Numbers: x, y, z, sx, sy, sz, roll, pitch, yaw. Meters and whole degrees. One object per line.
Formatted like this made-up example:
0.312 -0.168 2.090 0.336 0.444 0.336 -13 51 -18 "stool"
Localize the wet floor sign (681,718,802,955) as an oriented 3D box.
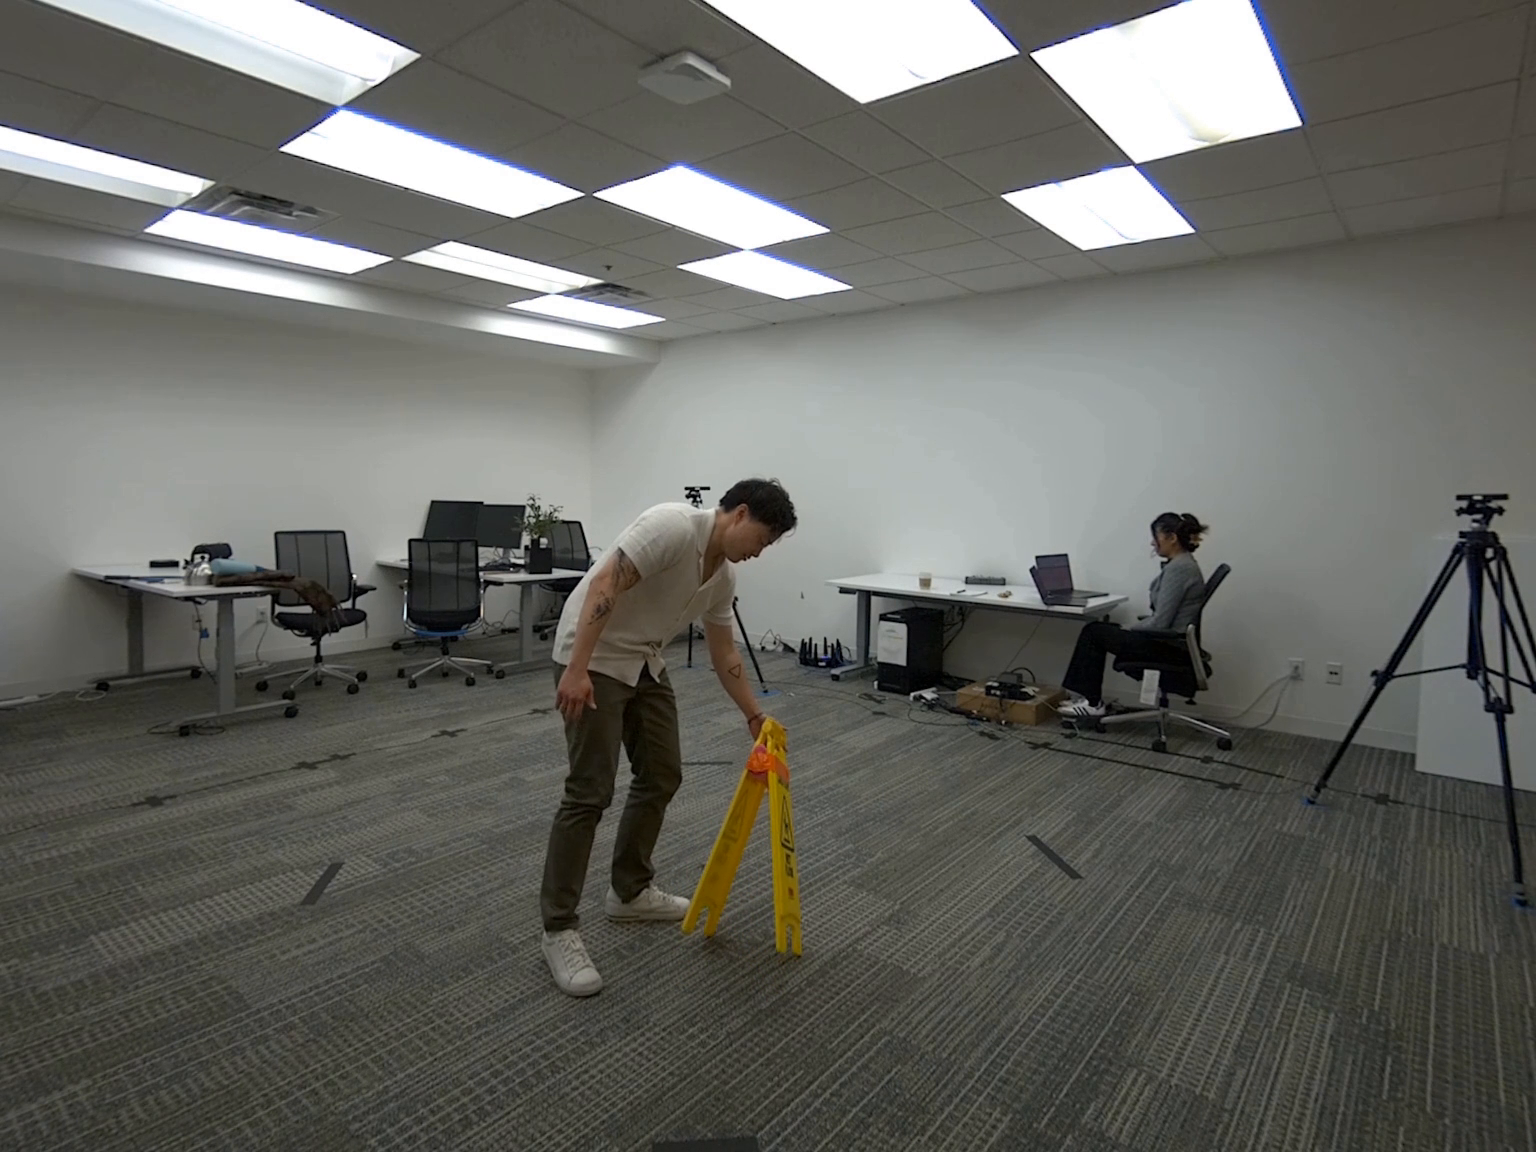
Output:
-0.029 0.777 2.602 0.296 0.656 0.272 3 -23 18 "wet floor sign"
